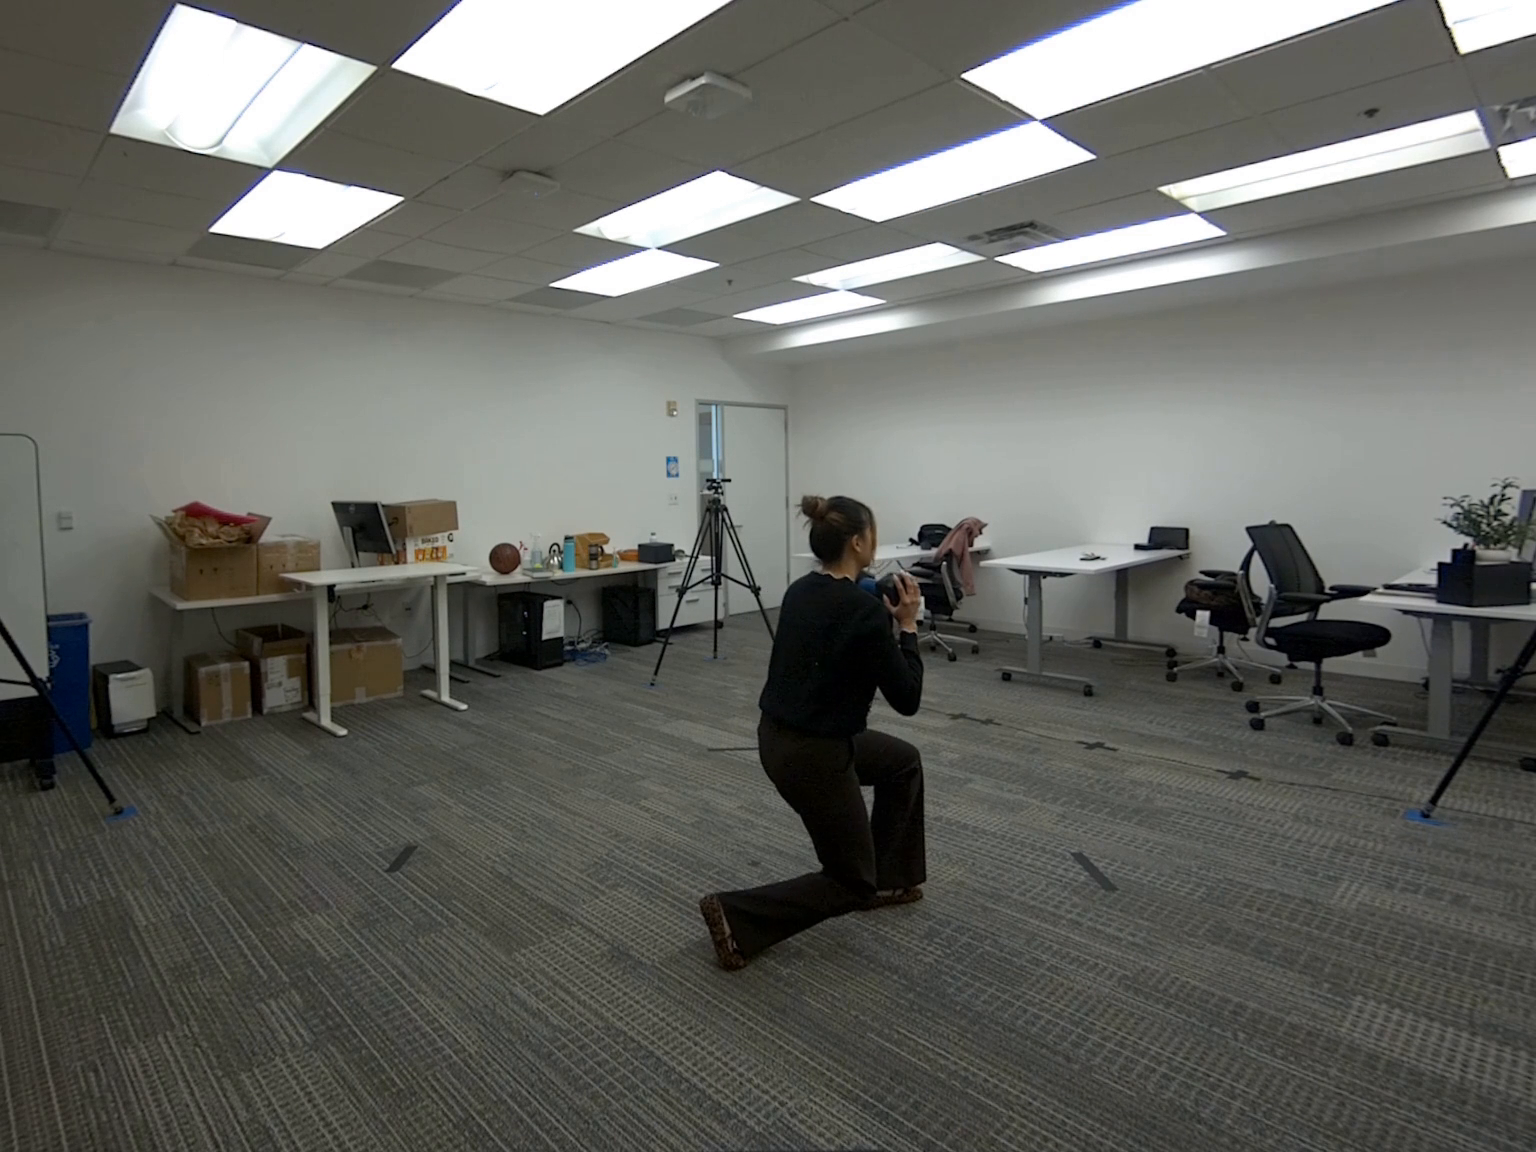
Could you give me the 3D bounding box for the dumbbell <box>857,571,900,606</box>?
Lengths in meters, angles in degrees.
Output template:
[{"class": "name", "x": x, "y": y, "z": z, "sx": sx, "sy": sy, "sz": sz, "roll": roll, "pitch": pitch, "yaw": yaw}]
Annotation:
[{"class": "dumbbell", "x": 0.321, "y": 0.037, "z": 2.700, "sx": 0.123, "sy": 0.106, "sz": 0.300, "roll": -42, "pitch": 19, "yaw": -14}]
